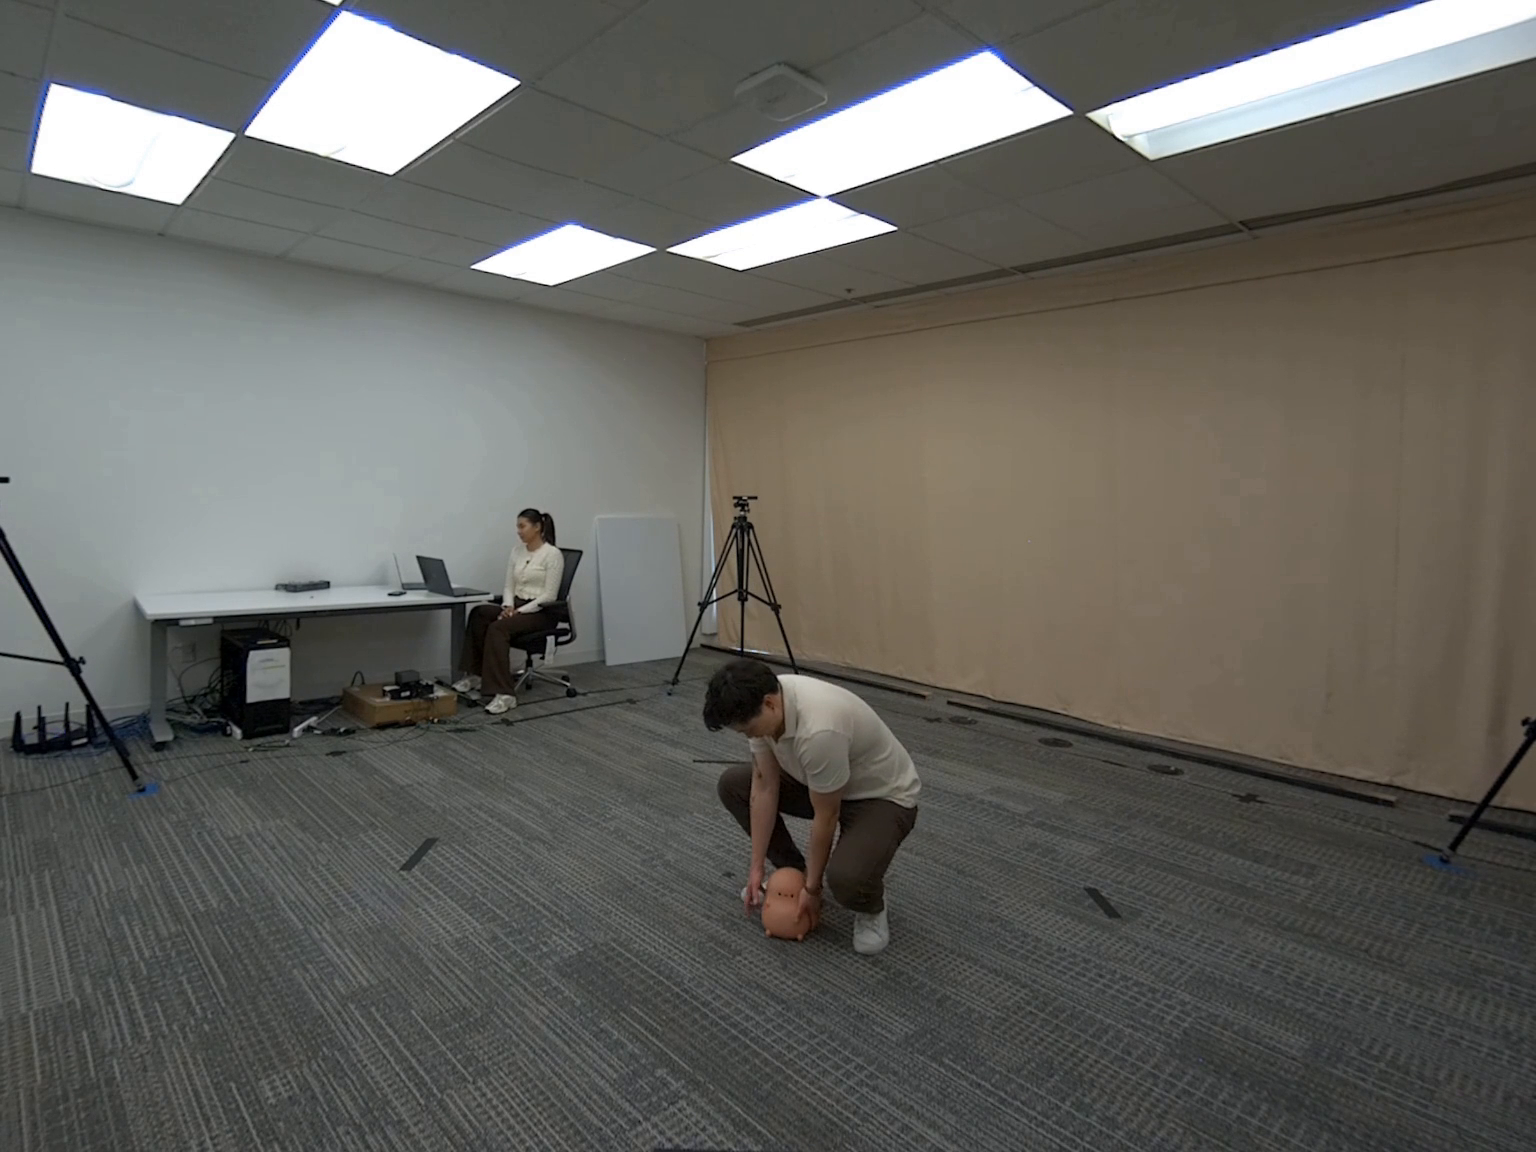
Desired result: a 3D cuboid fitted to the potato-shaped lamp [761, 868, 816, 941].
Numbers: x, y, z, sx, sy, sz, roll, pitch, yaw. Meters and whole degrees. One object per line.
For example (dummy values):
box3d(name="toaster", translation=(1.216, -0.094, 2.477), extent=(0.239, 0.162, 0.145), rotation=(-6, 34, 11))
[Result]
box3d(name="potato-shaped lamp", translation=(0.052, 1.034, 2.713), extent=(0.167, 0.197, 0.169), rotation=(5, 5, 18))
